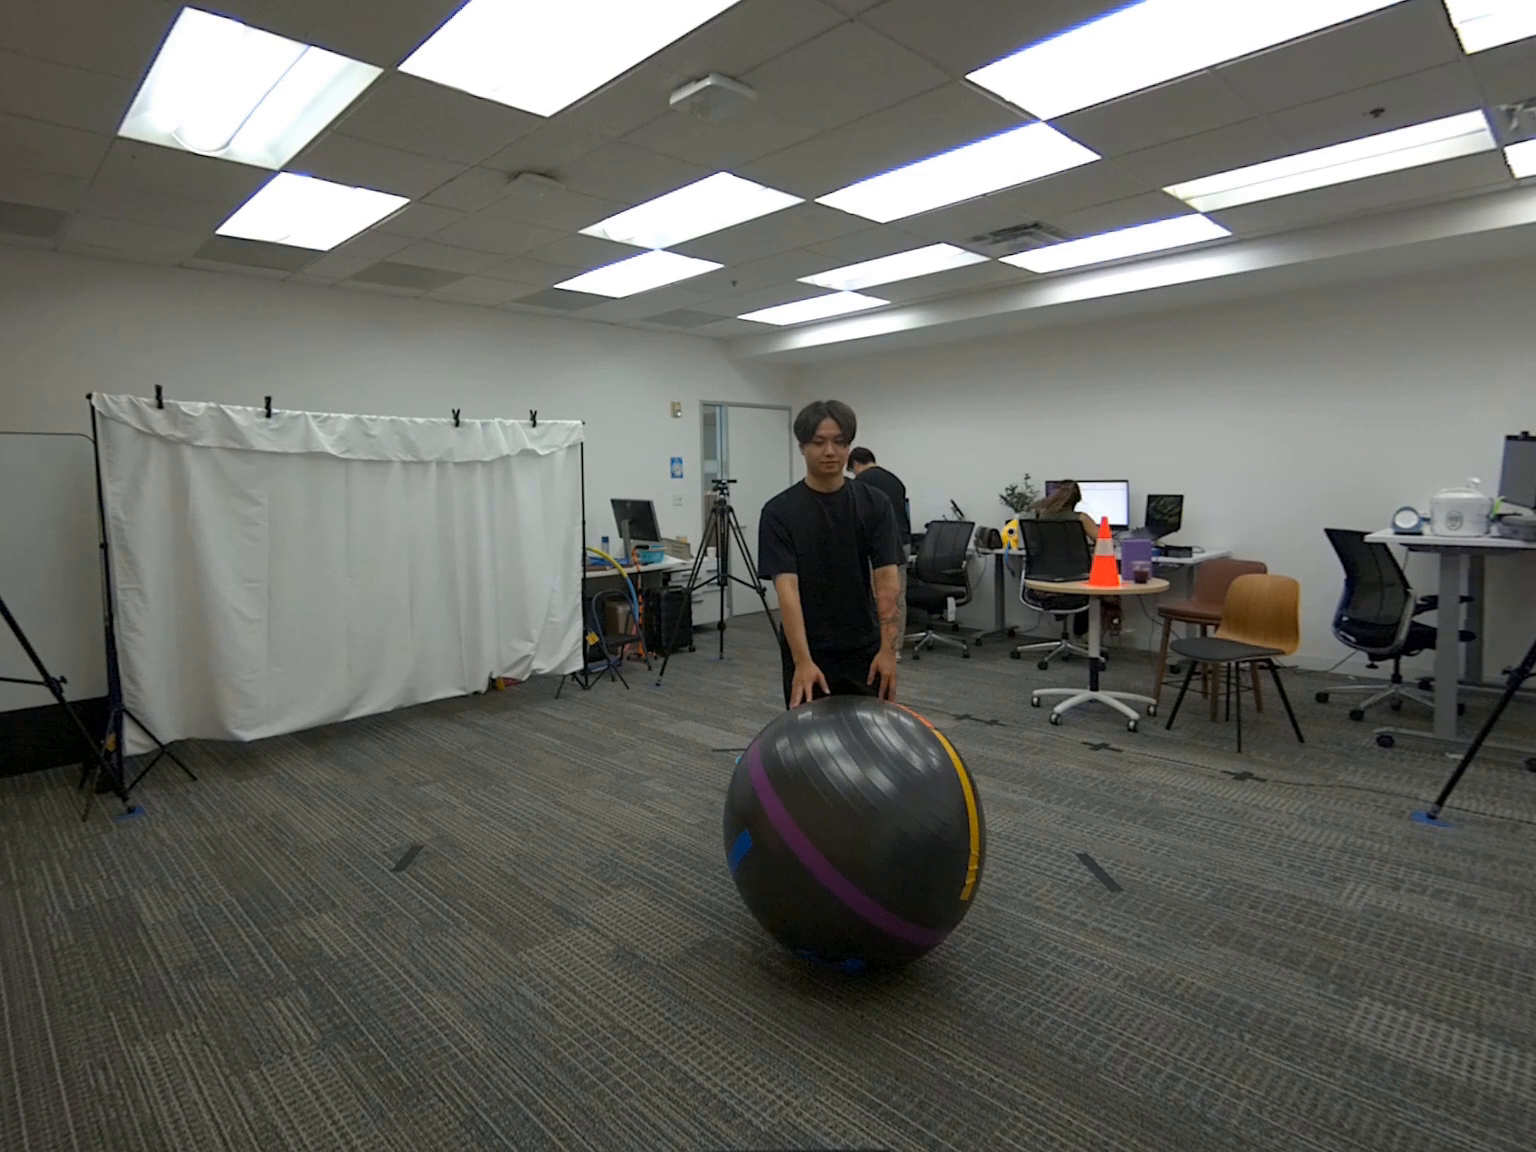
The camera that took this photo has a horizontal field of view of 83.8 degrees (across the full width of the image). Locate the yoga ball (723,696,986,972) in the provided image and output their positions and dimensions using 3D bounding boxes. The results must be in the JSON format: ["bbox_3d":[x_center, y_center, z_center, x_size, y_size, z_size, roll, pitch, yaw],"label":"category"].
[{"bbox_3d":[0.254,0.745,2.508,0.757,0.755,0.762,-1,5,-2],"label":"yoga ball"}]
